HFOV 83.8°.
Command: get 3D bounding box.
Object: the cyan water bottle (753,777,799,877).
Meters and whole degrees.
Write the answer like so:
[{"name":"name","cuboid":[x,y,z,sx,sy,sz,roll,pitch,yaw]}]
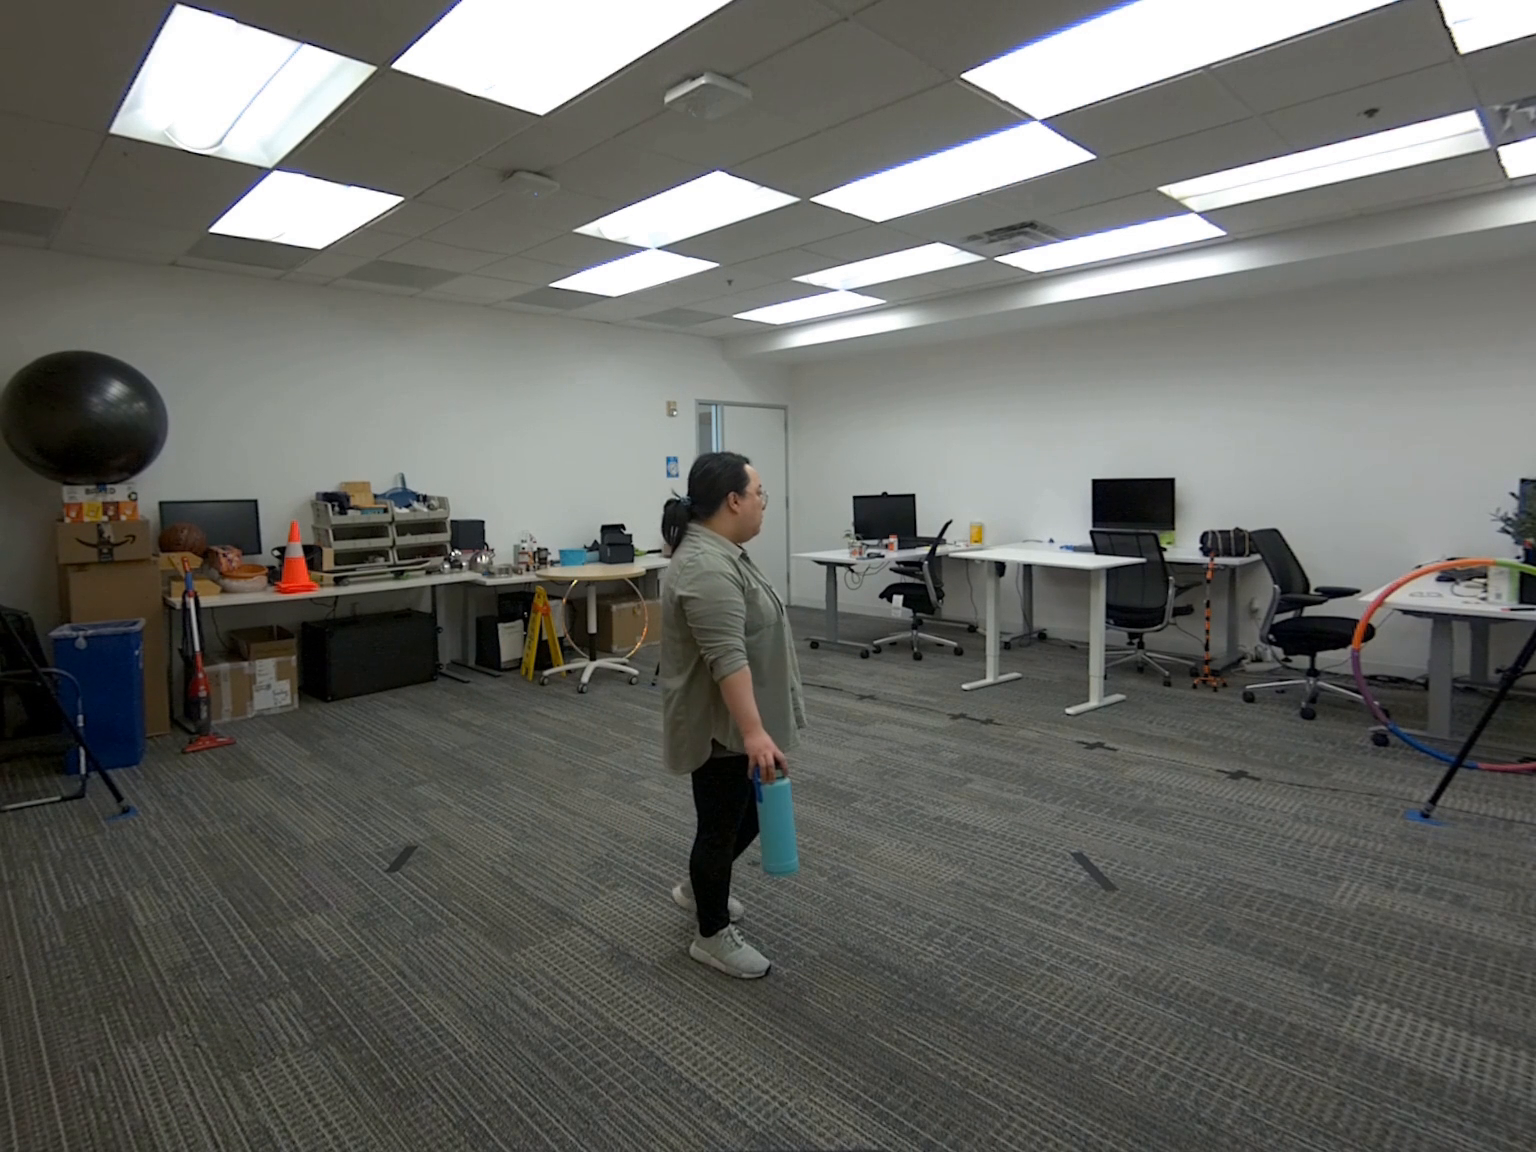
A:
[{"name":"cyan water bottle","cuboid":[0.013,0.600,2.144,0.092,0.284,0.092,-5,-3,-2]}]
